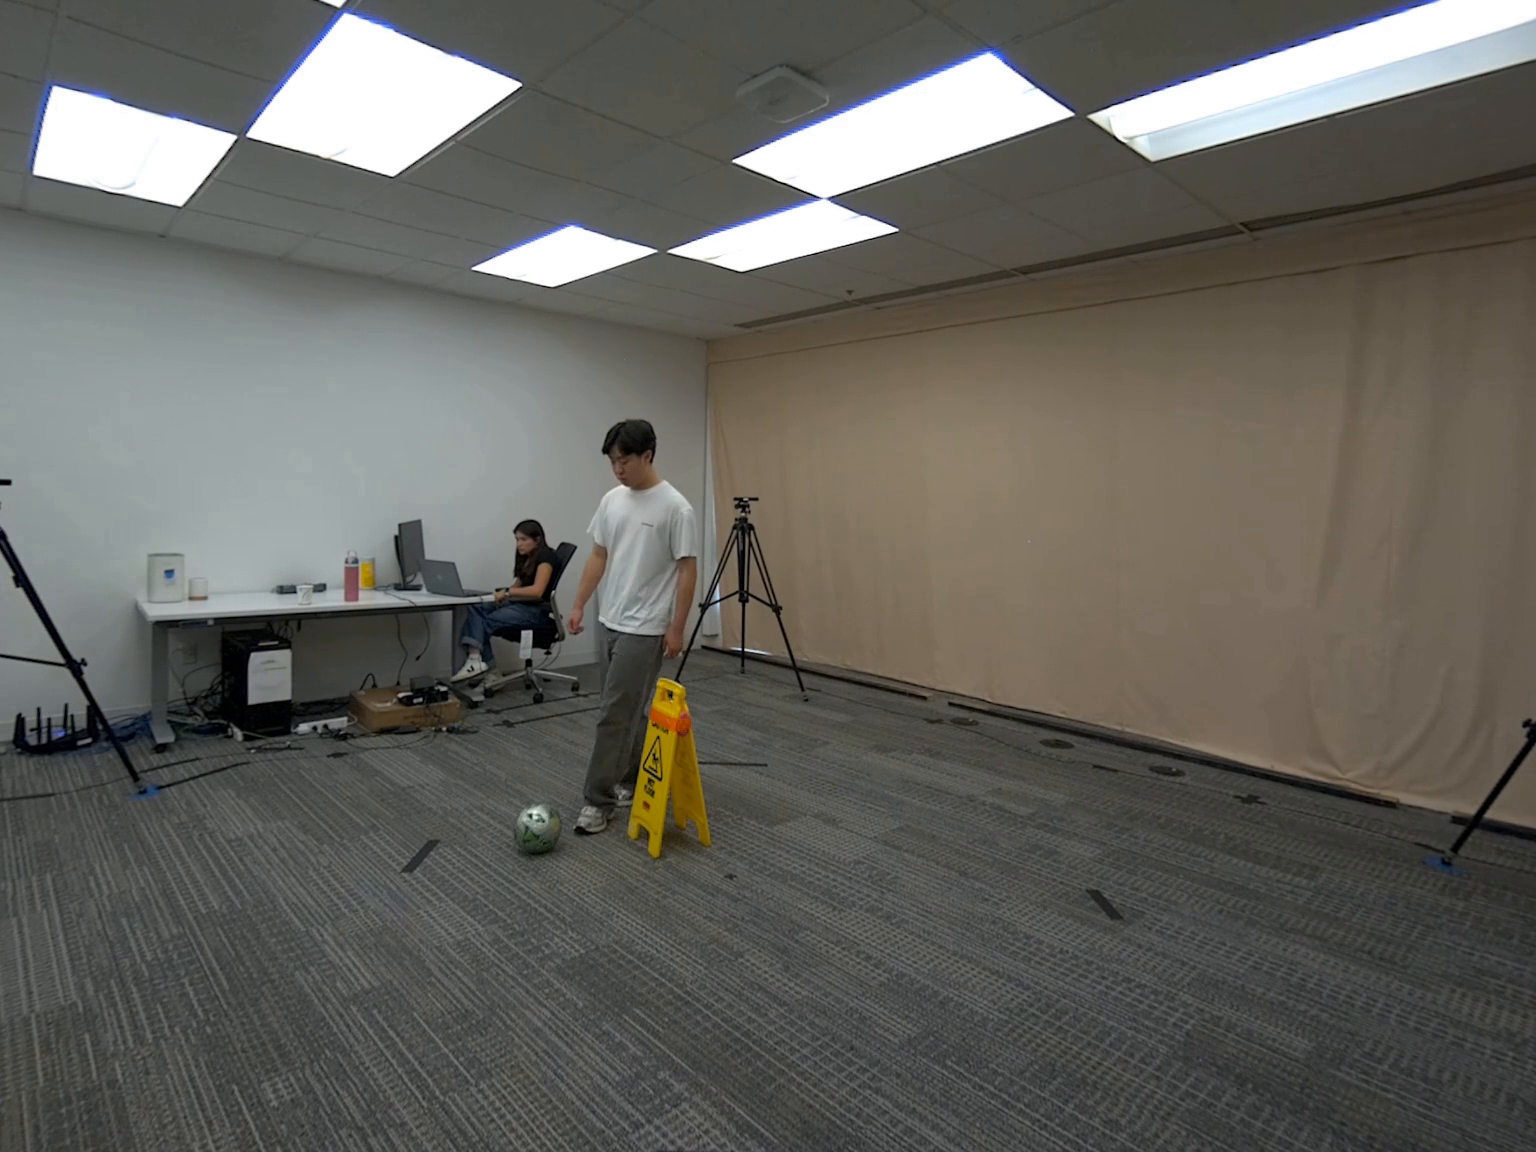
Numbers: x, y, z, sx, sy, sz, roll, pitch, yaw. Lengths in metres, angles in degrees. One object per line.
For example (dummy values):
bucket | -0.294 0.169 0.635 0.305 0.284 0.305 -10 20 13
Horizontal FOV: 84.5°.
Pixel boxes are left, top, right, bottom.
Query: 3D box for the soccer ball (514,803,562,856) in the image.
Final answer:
soccer ball | -0.909 0.983 3.281 0.187 0.187 0.188 1 4 -1
